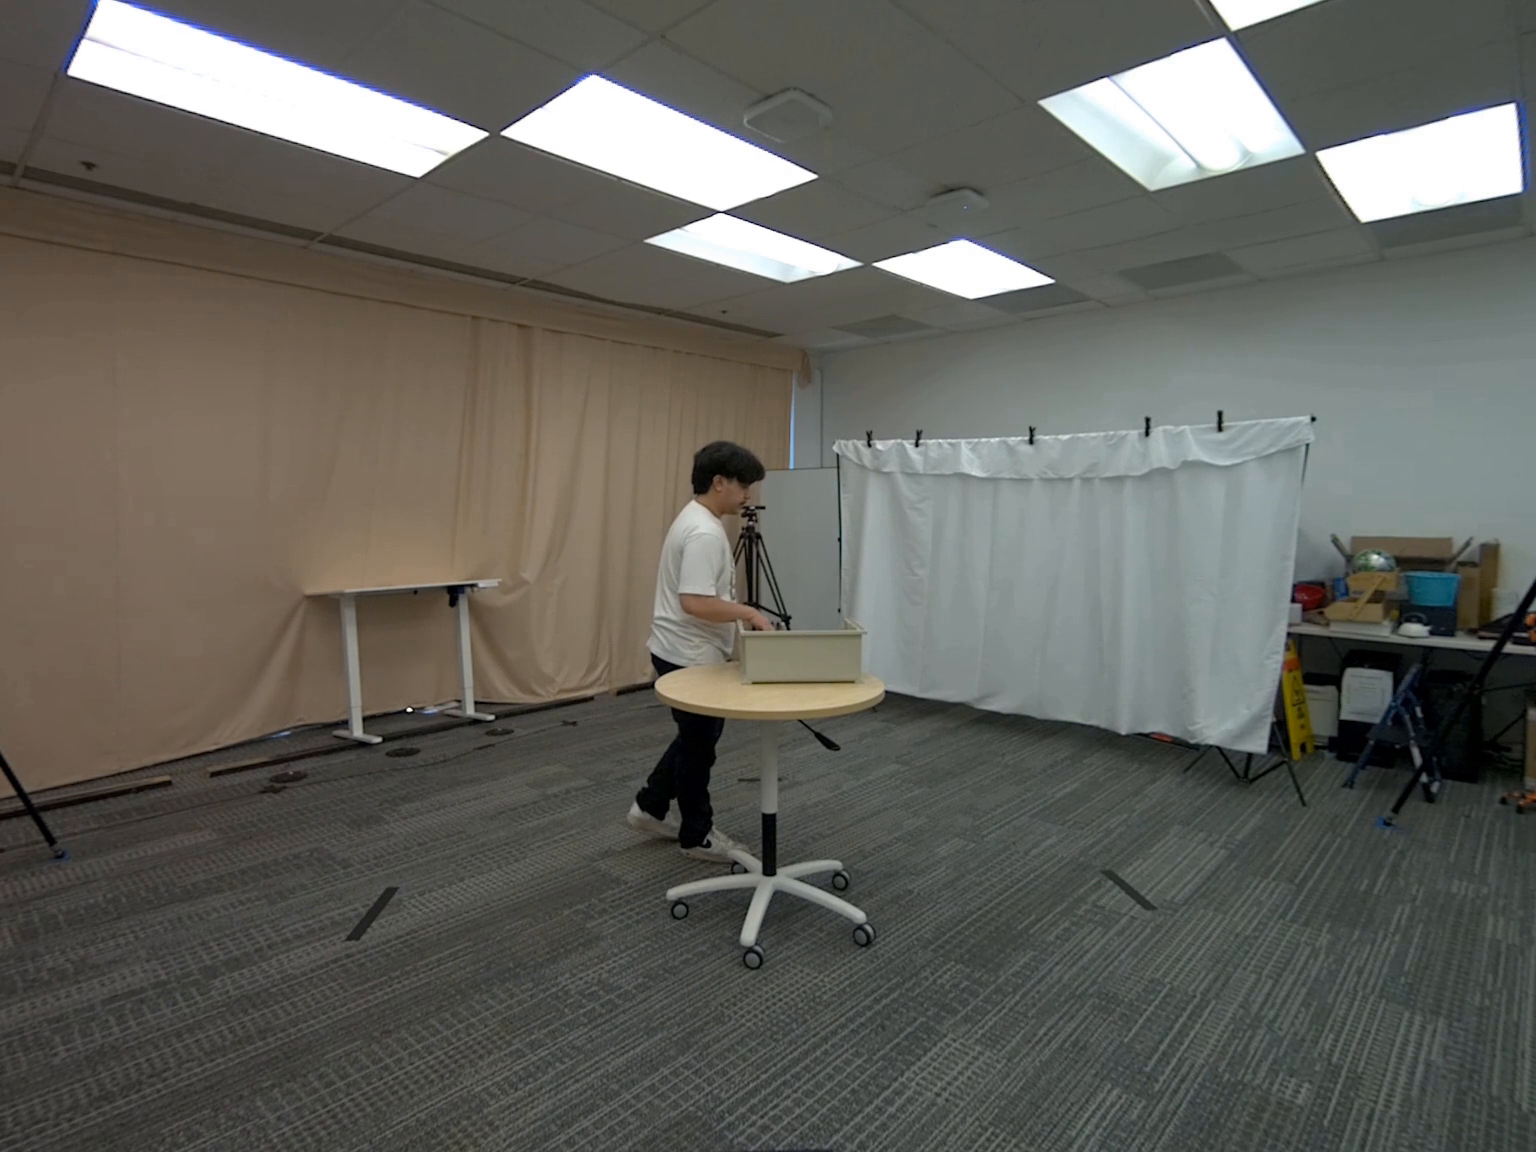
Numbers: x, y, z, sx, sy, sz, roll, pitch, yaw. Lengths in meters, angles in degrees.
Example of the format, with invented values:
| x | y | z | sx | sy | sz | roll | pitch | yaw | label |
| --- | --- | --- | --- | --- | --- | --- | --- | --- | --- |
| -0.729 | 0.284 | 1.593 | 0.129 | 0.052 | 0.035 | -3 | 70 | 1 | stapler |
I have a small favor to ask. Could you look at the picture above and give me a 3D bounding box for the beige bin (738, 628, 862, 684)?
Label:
| x | y | z | sx | sy | sz | roll | pitch | yaw | label |
| --- | --- | --- | --- | --- | --- | --- | --- | --- | --- |
| 0.108 | 0.253 | 2.976 | 0.421 | 0.188 | 0.379 | 0 | 6 | -3 | beige bin |
